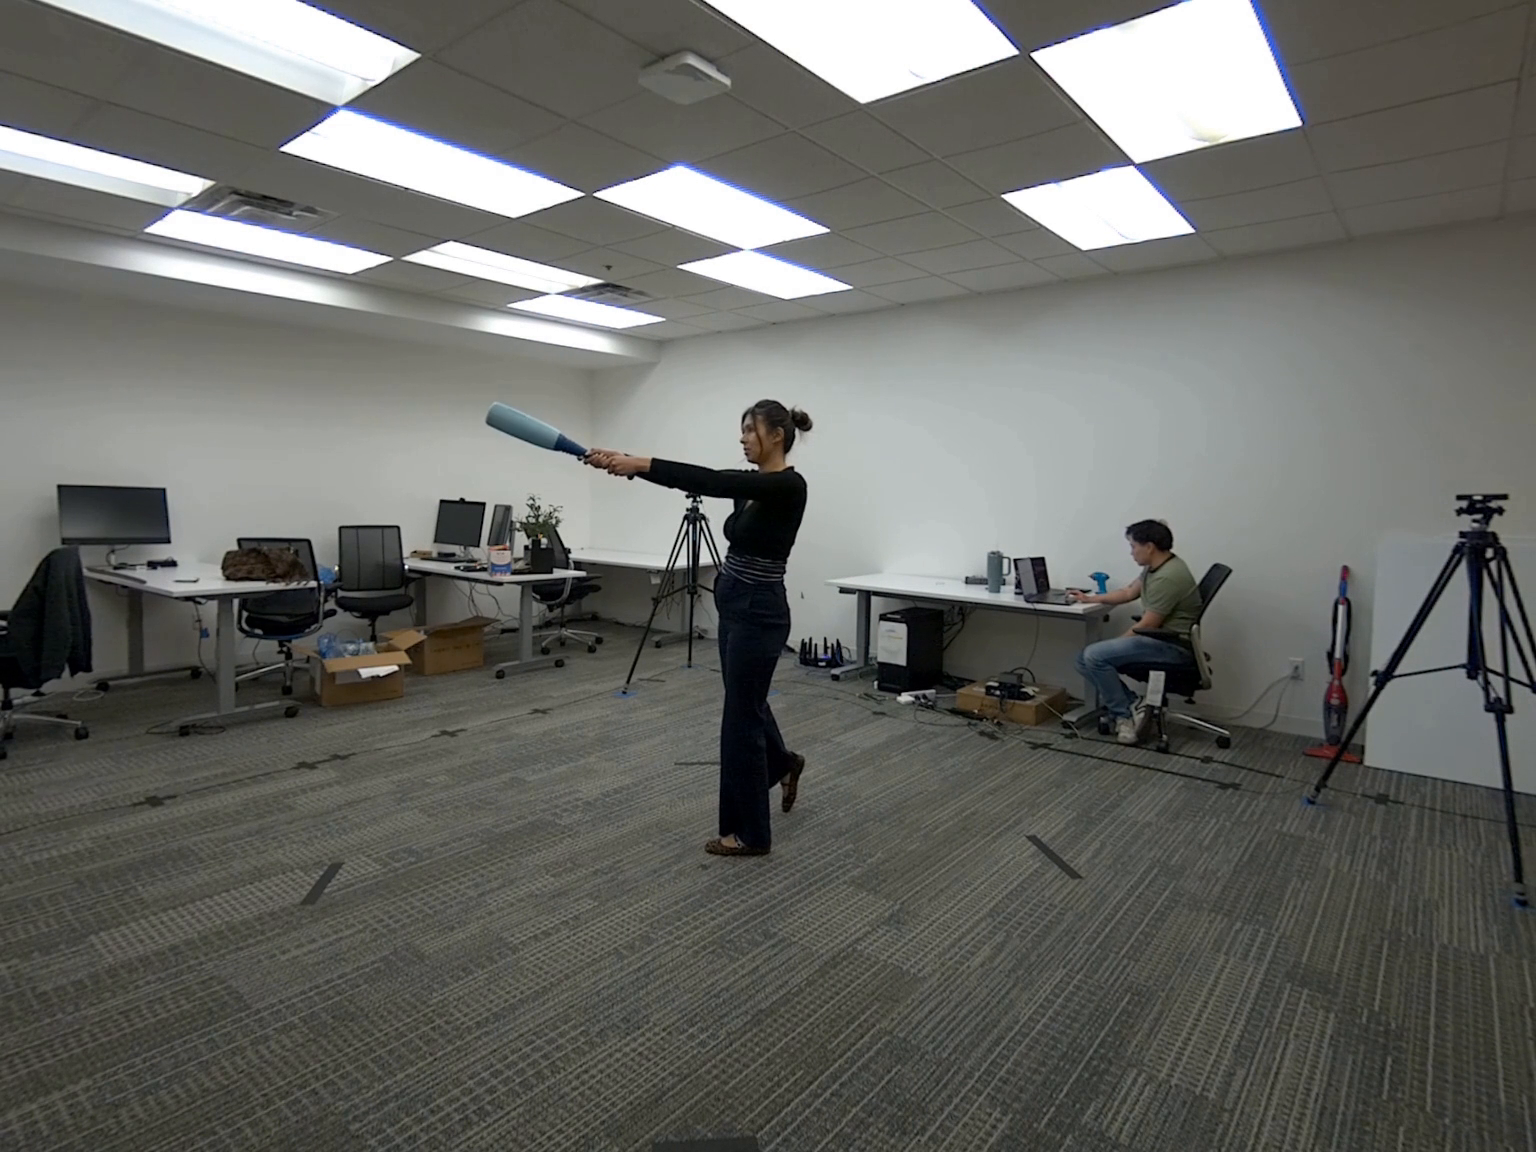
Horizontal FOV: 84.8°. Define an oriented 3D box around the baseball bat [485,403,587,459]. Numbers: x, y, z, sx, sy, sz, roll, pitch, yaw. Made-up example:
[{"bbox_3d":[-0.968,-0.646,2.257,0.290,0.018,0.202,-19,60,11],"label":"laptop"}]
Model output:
[{"bbox_3d":[-0.715,-0.452,2.961,0.539,0.089,0.090,24,1,-5],"label":"baseball bat"}]
